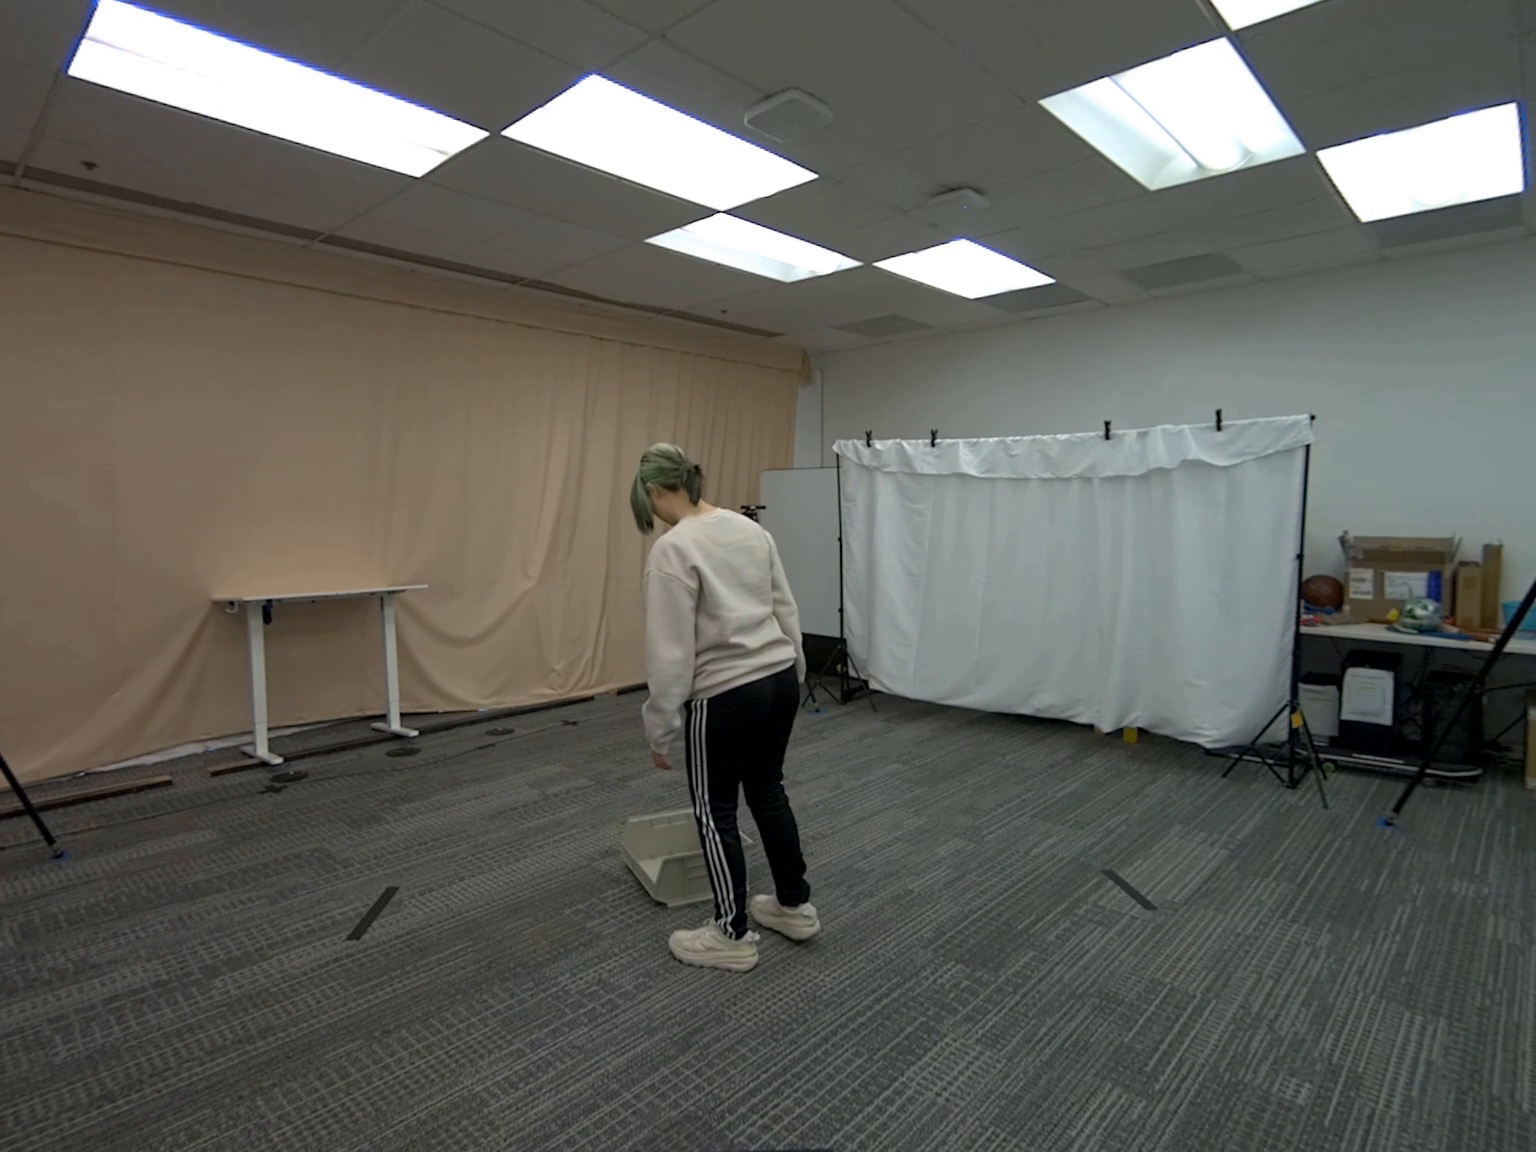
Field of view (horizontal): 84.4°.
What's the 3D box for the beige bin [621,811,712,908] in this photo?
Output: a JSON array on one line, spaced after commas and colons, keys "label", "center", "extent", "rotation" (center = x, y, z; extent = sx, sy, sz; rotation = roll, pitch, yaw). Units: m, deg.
[{"label": "beige bin", "center": [-0.318, 1.042, 3.155], "extent": [0.368, 0.189, 0.433], "rotation": [-2, 4, -25]}]
